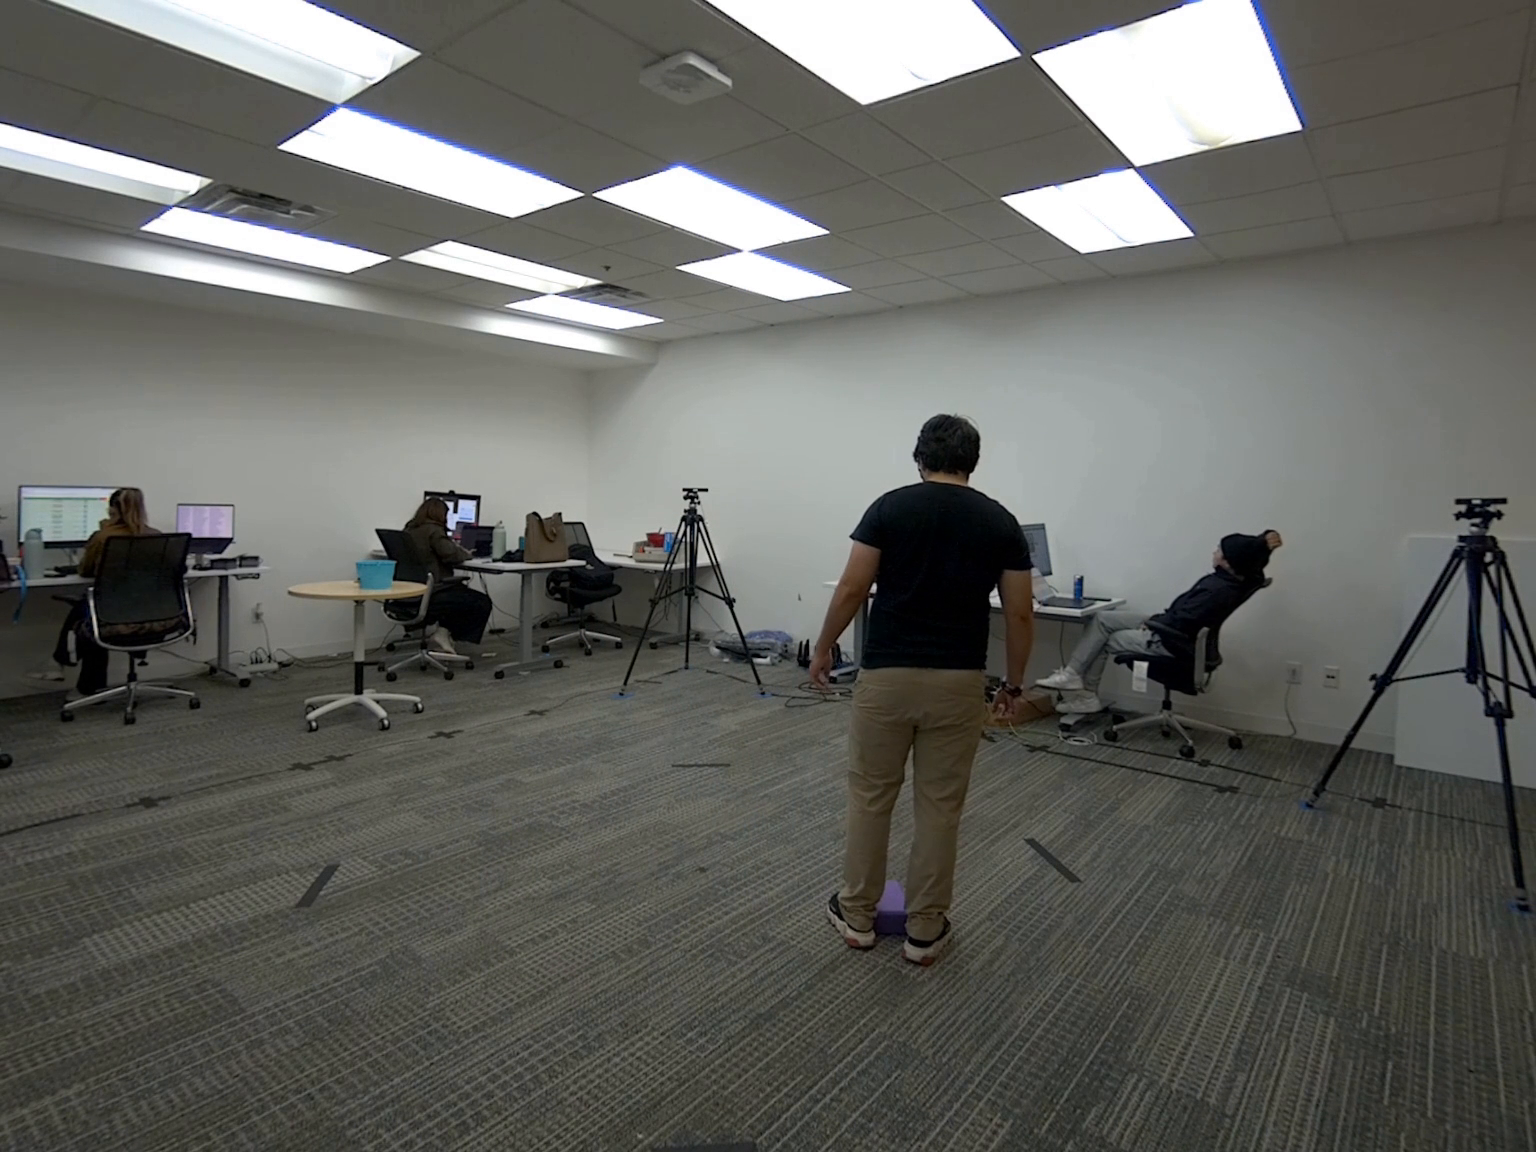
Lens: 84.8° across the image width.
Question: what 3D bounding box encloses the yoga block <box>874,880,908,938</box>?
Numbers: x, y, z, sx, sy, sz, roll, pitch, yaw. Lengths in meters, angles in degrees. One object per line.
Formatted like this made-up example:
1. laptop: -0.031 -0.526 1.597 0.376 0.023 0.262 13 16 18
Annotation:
1. yoga block: 0.382 1.071 2.780 0.148 0.076 0.232 -2 6 -6
